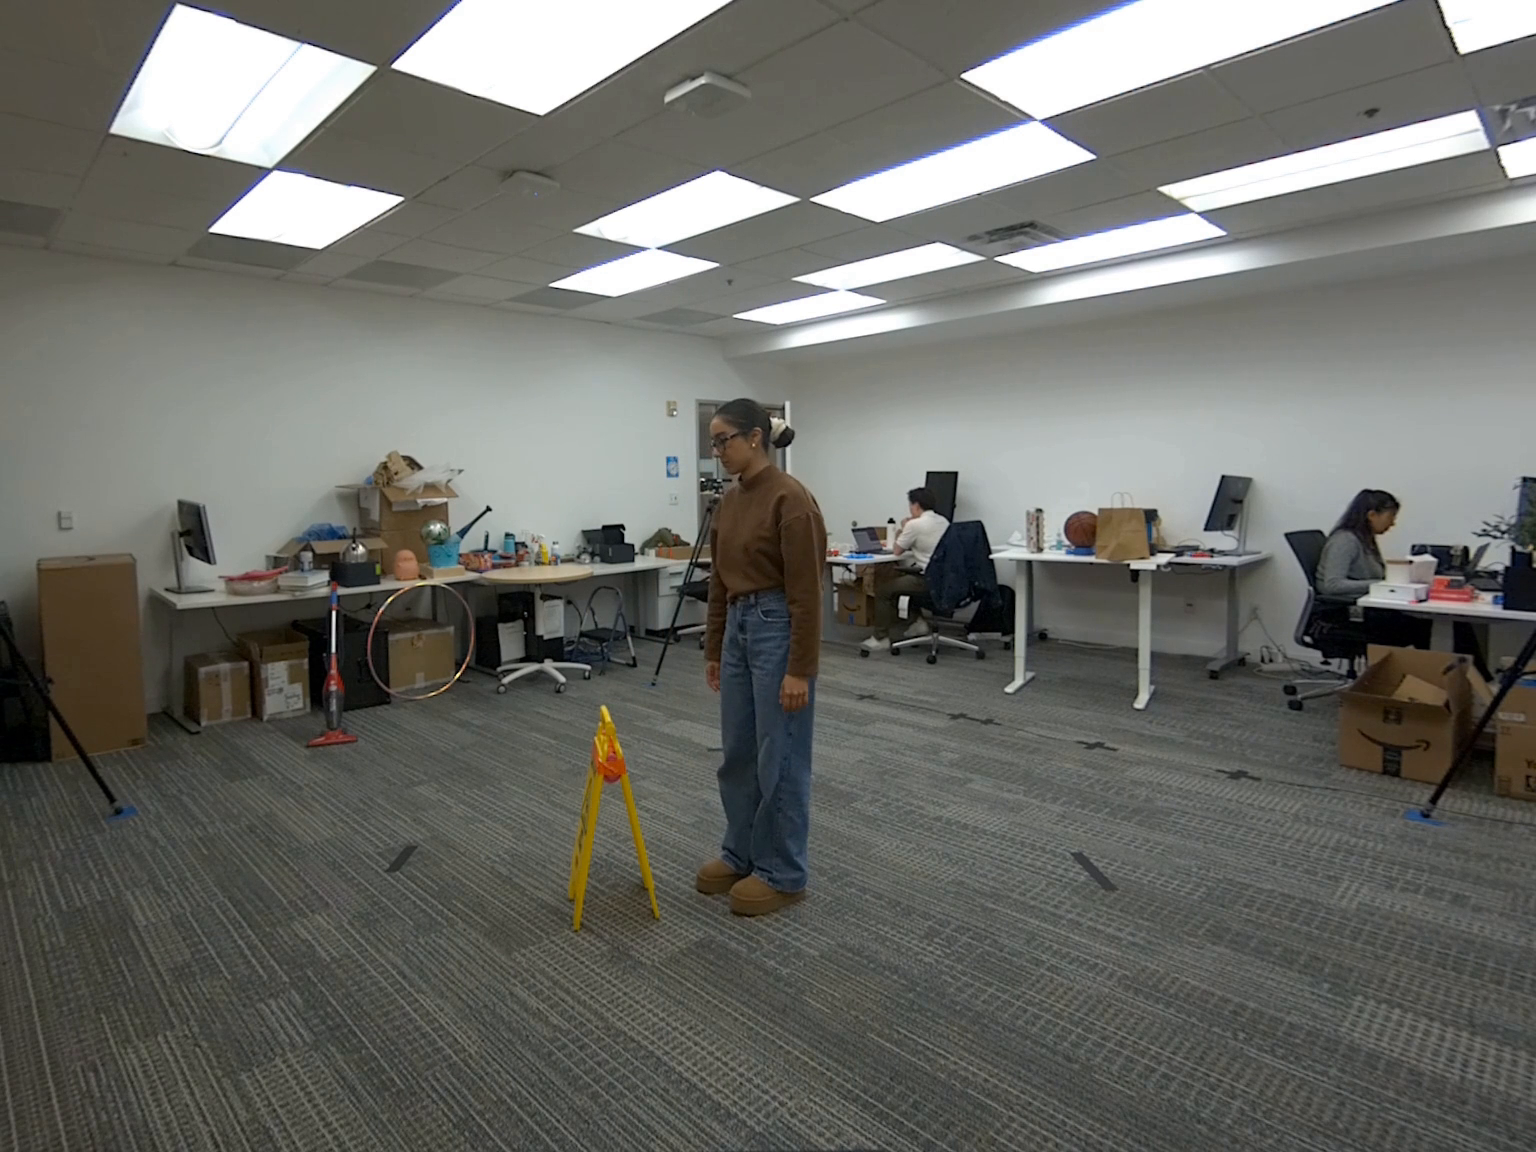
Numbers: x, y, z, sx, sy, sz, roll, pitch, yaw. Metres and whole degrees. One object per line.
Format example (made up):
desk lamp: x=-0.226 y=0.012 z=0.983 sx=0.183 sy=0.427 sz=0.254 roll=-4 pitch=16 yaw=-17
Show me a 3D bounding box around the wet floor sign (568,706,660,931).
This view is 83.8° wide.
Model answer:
wet floor sign: x=-0.515 y=0.763 z=2.799 sx=0.286 sy=0.644 sz=0.287 roll=-2 pitch=3 yaw=-15
